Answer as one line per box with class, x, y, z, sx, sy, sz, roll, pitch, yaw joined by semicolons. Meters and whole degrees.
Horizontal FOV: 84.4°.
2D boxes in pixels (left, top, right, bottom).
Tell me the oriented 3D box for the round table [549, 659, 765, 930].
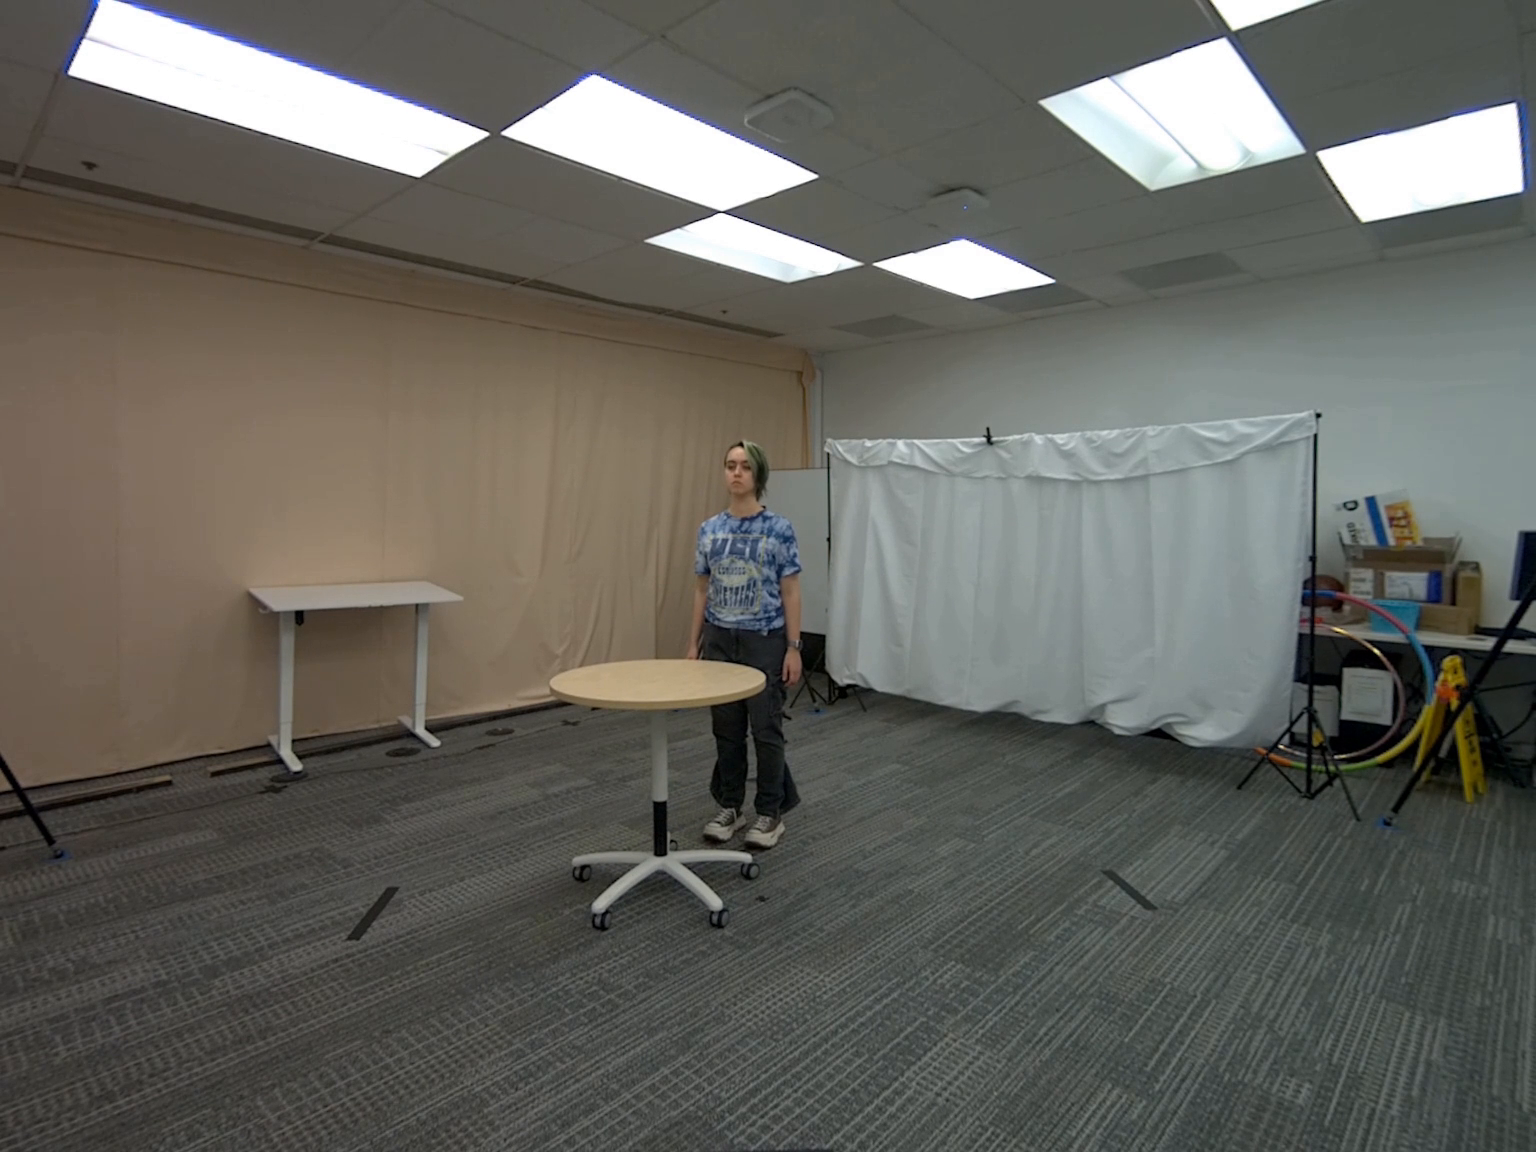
round table;-0.393;0.760;3.019;0.763;0.792;0.766;-1;3;-2
